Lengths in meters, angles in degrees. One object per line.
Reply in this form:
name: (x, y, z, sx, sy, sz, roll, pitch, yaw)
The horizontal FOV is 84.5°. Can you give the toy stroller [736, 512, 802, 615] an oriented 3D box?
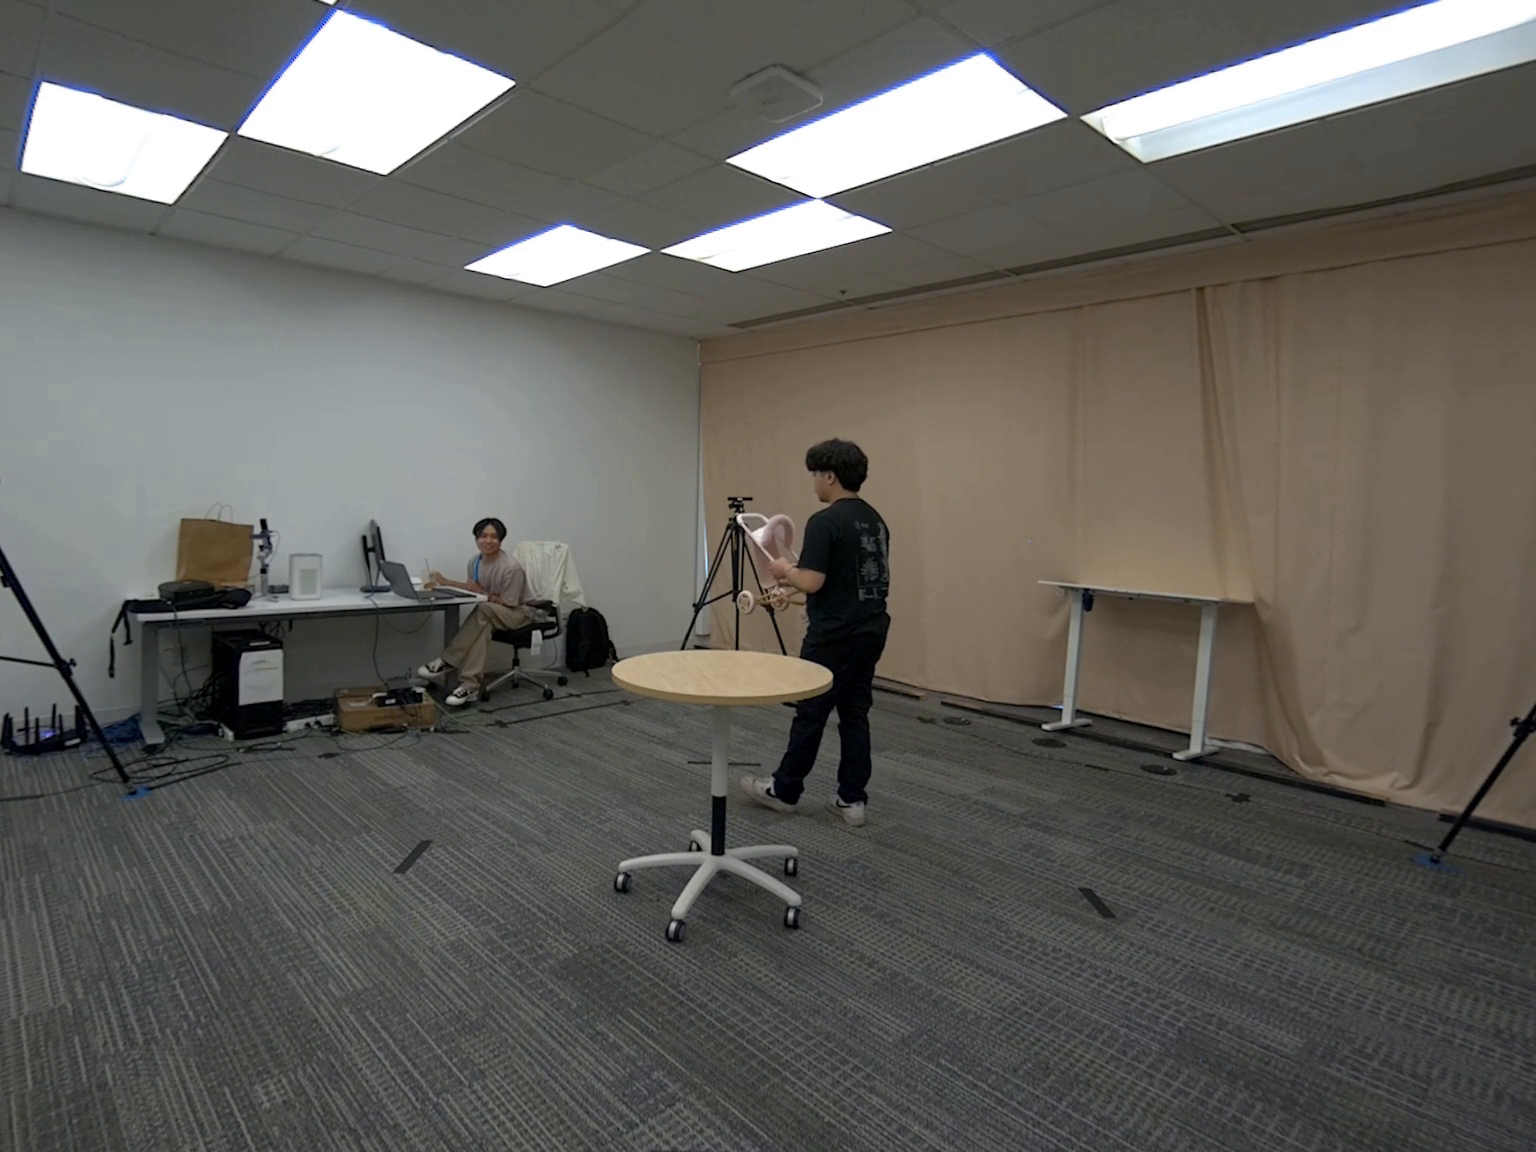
toy stroller: (0.037, -0.044, 3.902, 0.275, 0.537, 0.348, 0, -5, -43)
